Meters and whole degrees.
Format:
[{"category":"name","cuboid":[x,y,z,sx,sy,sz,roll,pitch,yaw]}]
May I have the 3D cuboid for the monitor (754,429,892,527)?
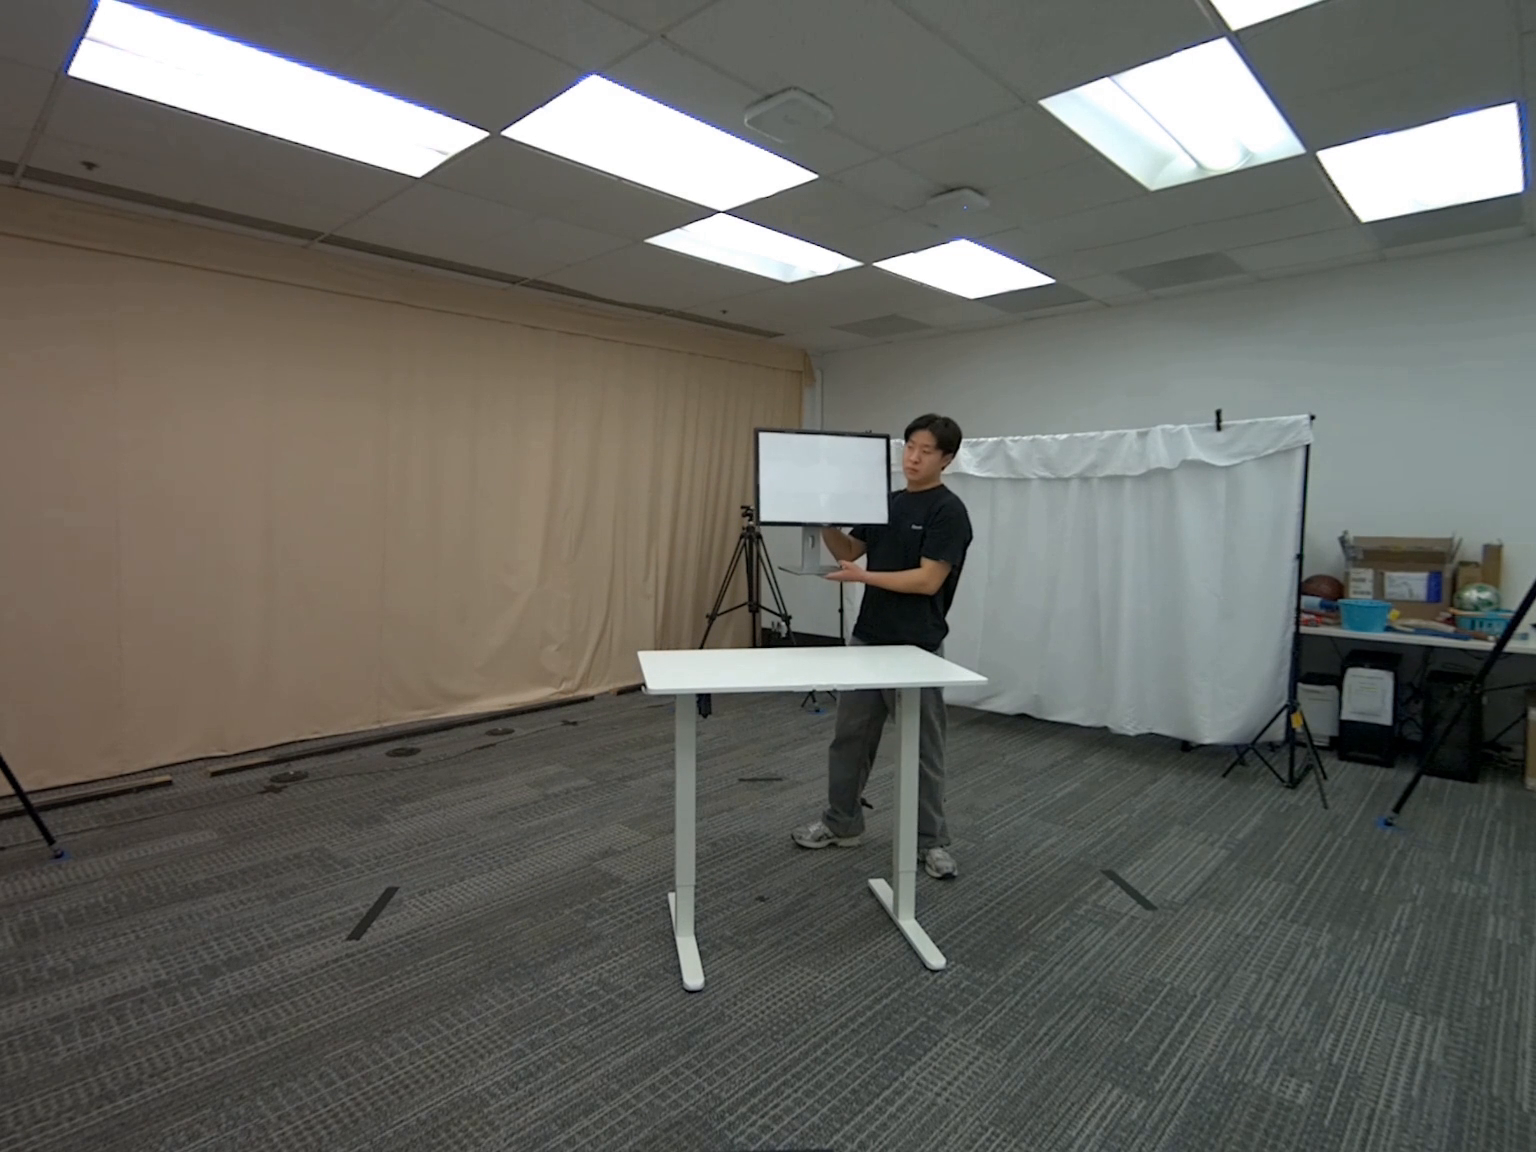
[{"category":"monitor","cuboid":[0.195,-0.268,3.203,0.553,0.562,0.227,0,11,-16]}]
